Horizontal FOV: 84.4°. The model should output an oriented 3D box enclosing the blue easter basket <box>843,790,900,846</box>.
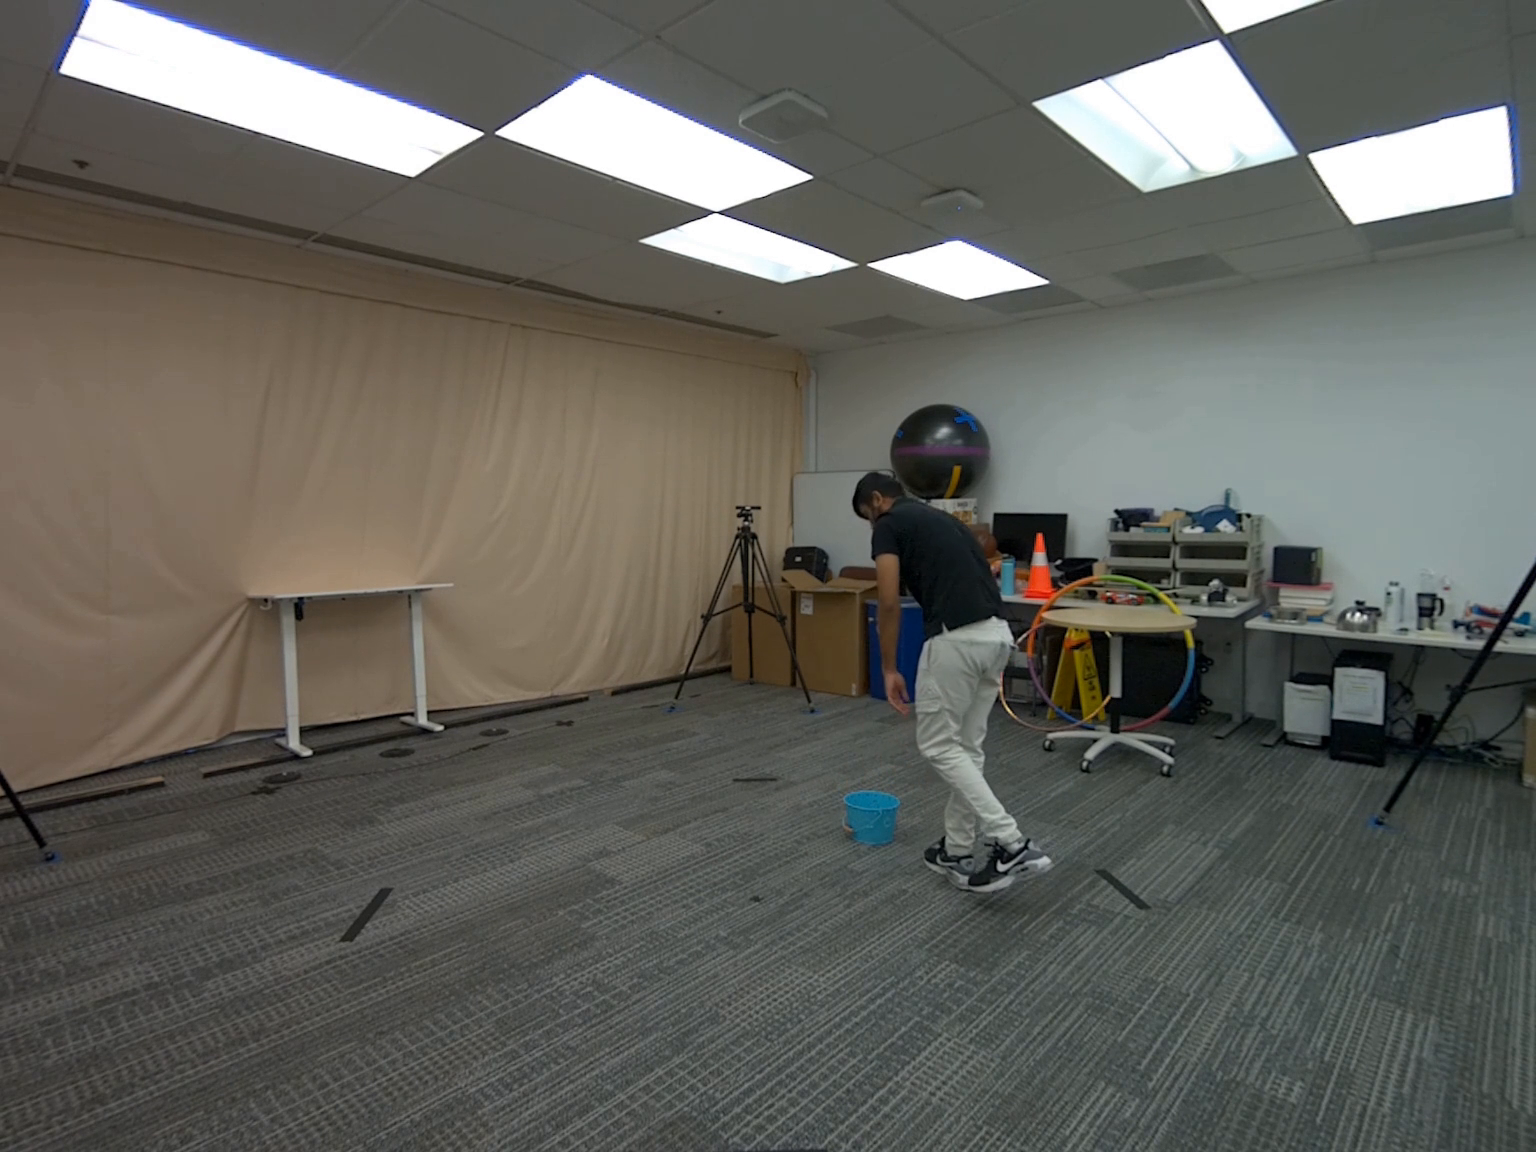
[{"bbox_3d":[0.432,1.017,3.557,0.243,0.155,0.244,0,4,-2],"label":"blue easter basket"}]
